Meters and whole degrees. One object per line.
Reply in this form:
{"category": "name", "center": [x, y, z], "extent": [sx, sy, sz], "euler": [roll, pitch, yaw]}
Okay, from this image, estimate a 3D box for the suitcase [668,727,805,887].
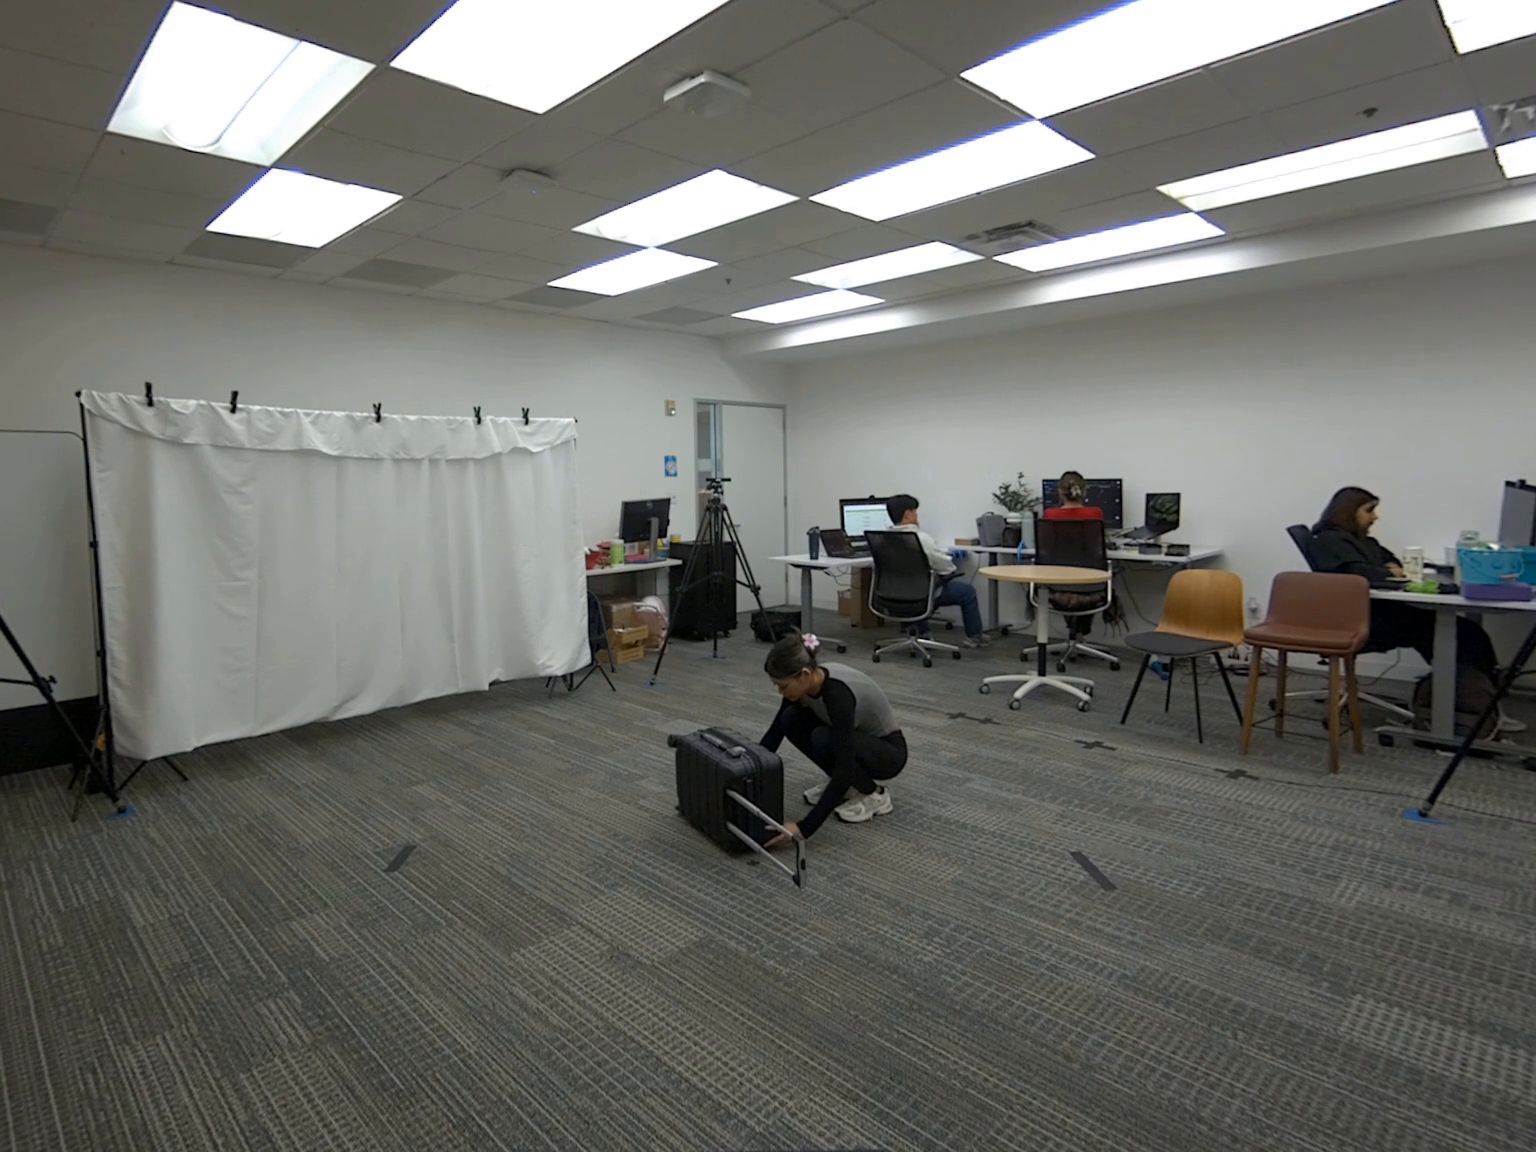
{"category": "suitcase", "center": [-0.051, 0.843, 3.186], "extent": [0.251, 0.382, 1.006], "euler": [-5, 7, -31]}
